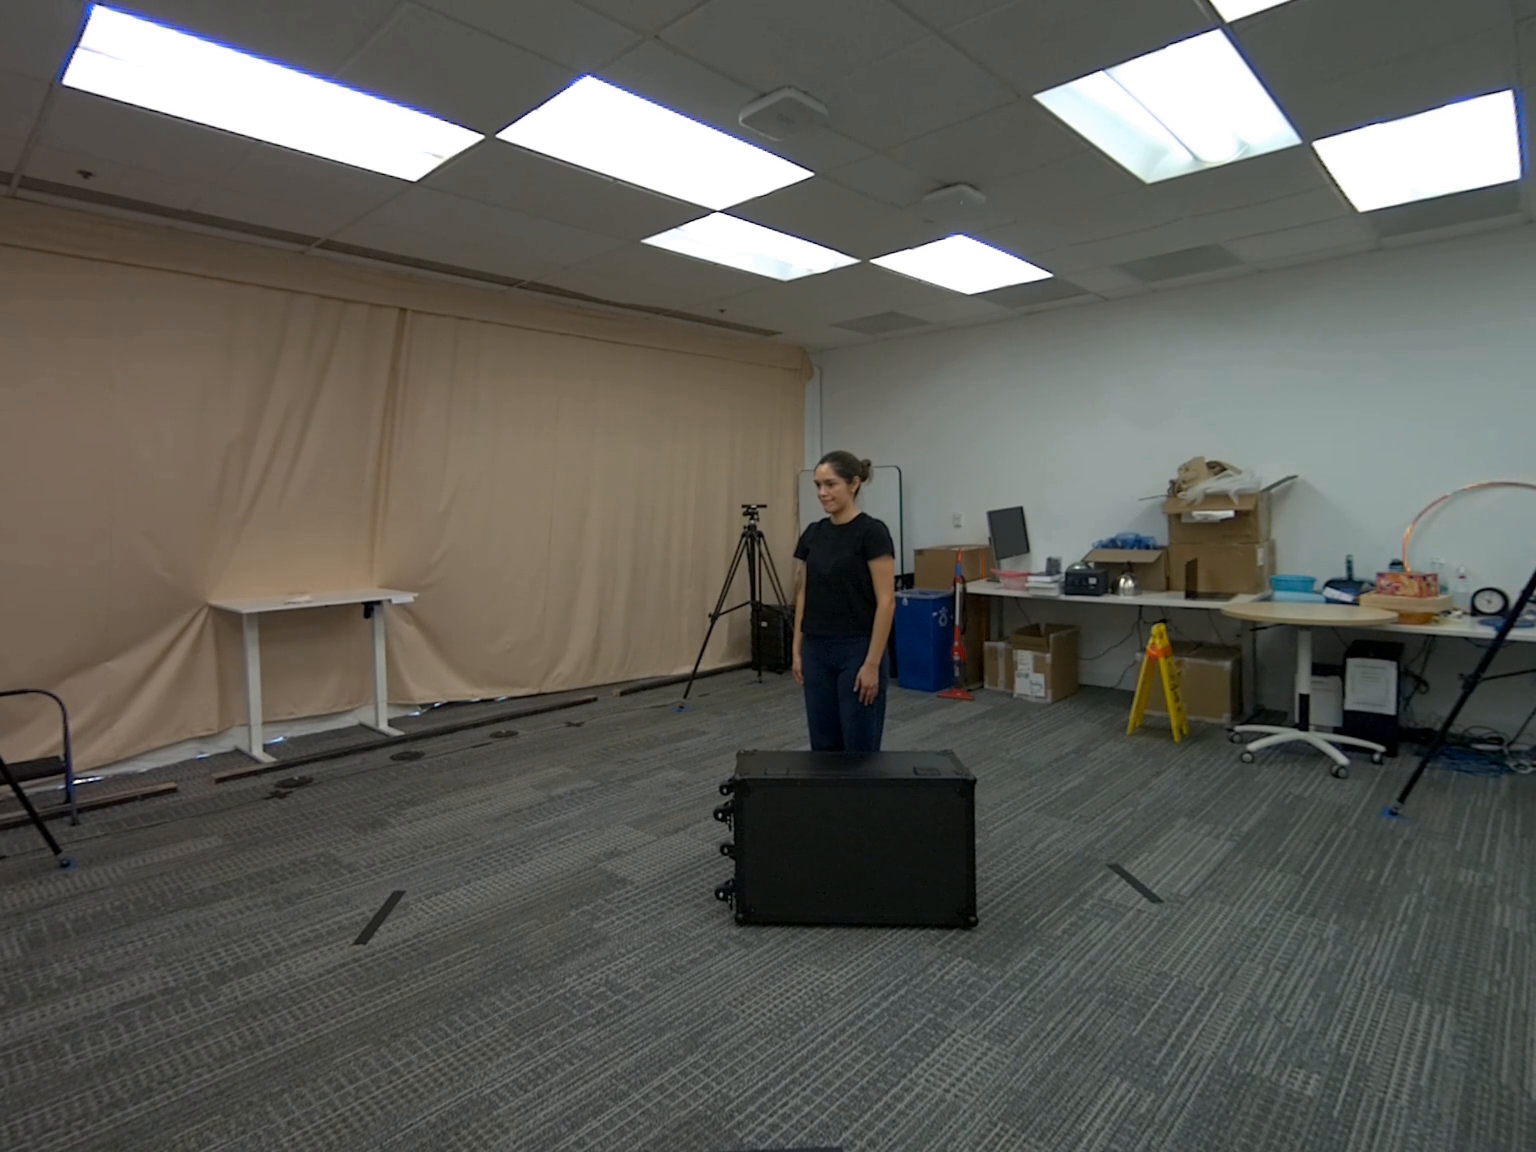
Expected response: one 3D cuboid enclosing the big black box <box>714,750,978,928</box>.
[{"bbox_3d":[0.269,0.882,2.934,0.864,0.521,0.395,-1,1,2],"label":"big black box"}]
